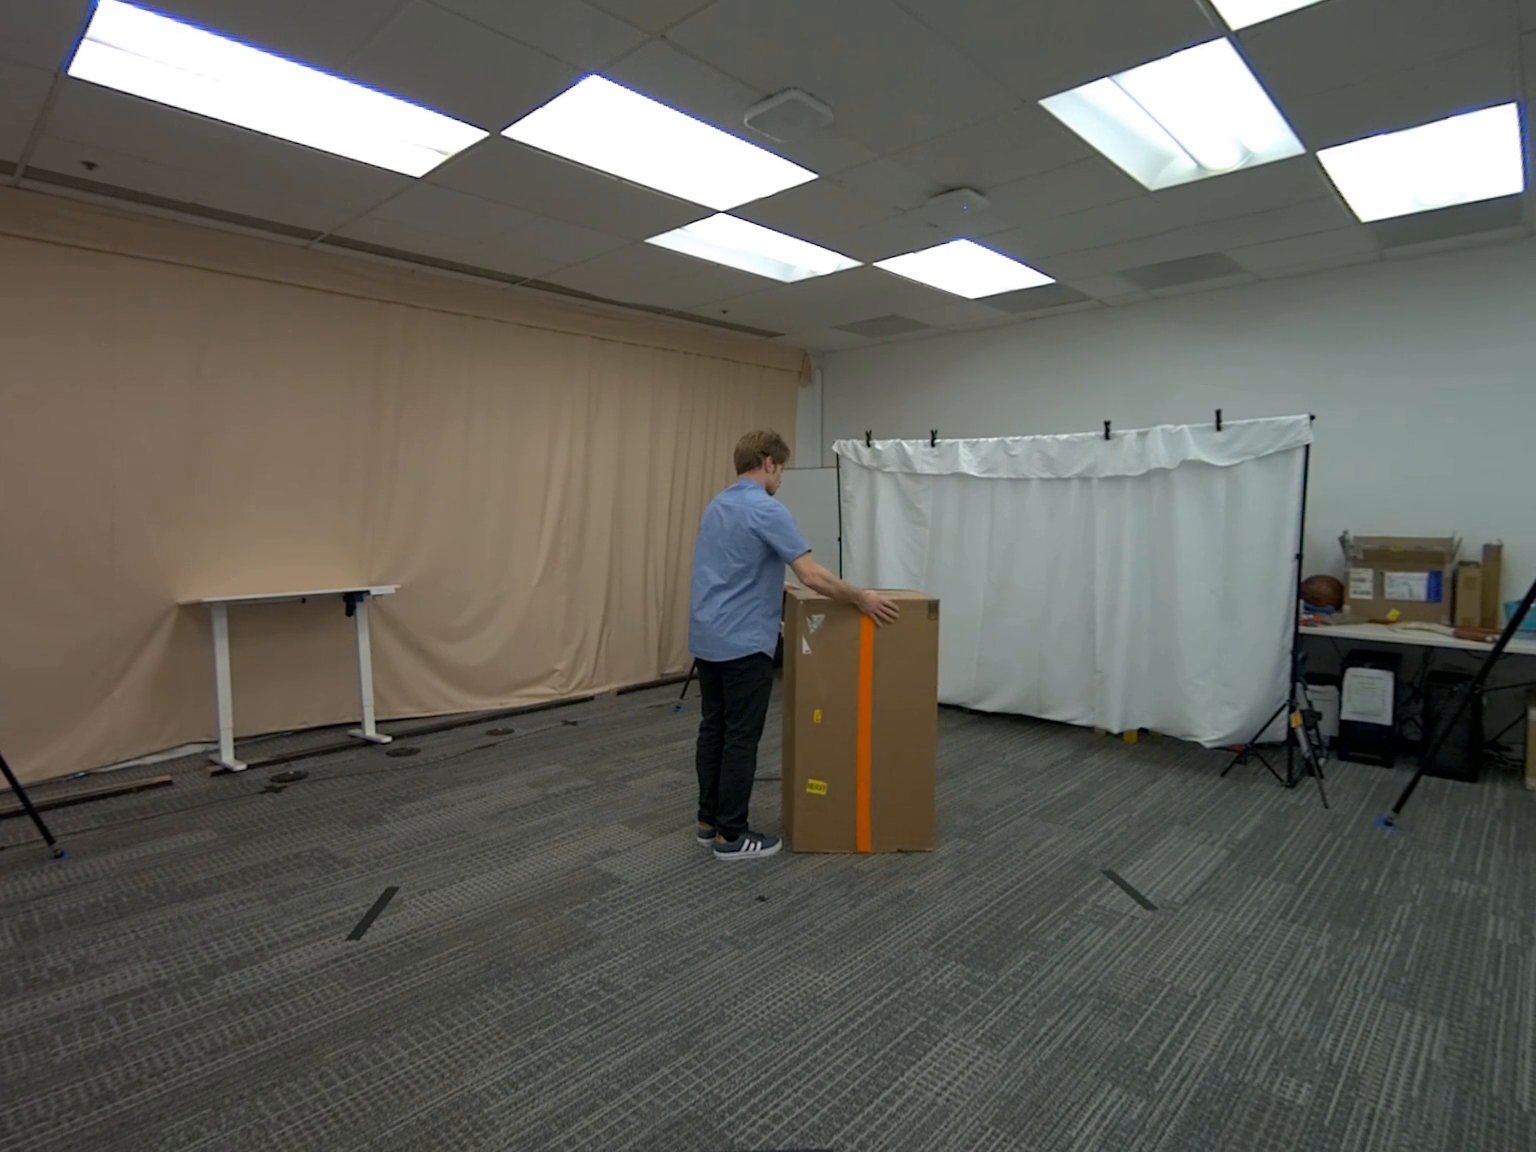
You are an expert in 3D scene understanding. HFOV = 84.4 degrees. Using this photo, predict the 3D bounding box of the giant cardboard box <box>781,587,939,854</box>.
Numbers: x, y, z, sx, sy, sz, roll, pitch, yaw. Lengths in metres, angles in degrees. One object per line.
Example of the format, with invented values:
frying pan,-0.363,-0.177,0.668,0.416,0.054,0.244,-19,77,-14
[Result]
giant cardboard box,0.377,0.586,3.567,0.576,1.024,0.428,1,3,-3
